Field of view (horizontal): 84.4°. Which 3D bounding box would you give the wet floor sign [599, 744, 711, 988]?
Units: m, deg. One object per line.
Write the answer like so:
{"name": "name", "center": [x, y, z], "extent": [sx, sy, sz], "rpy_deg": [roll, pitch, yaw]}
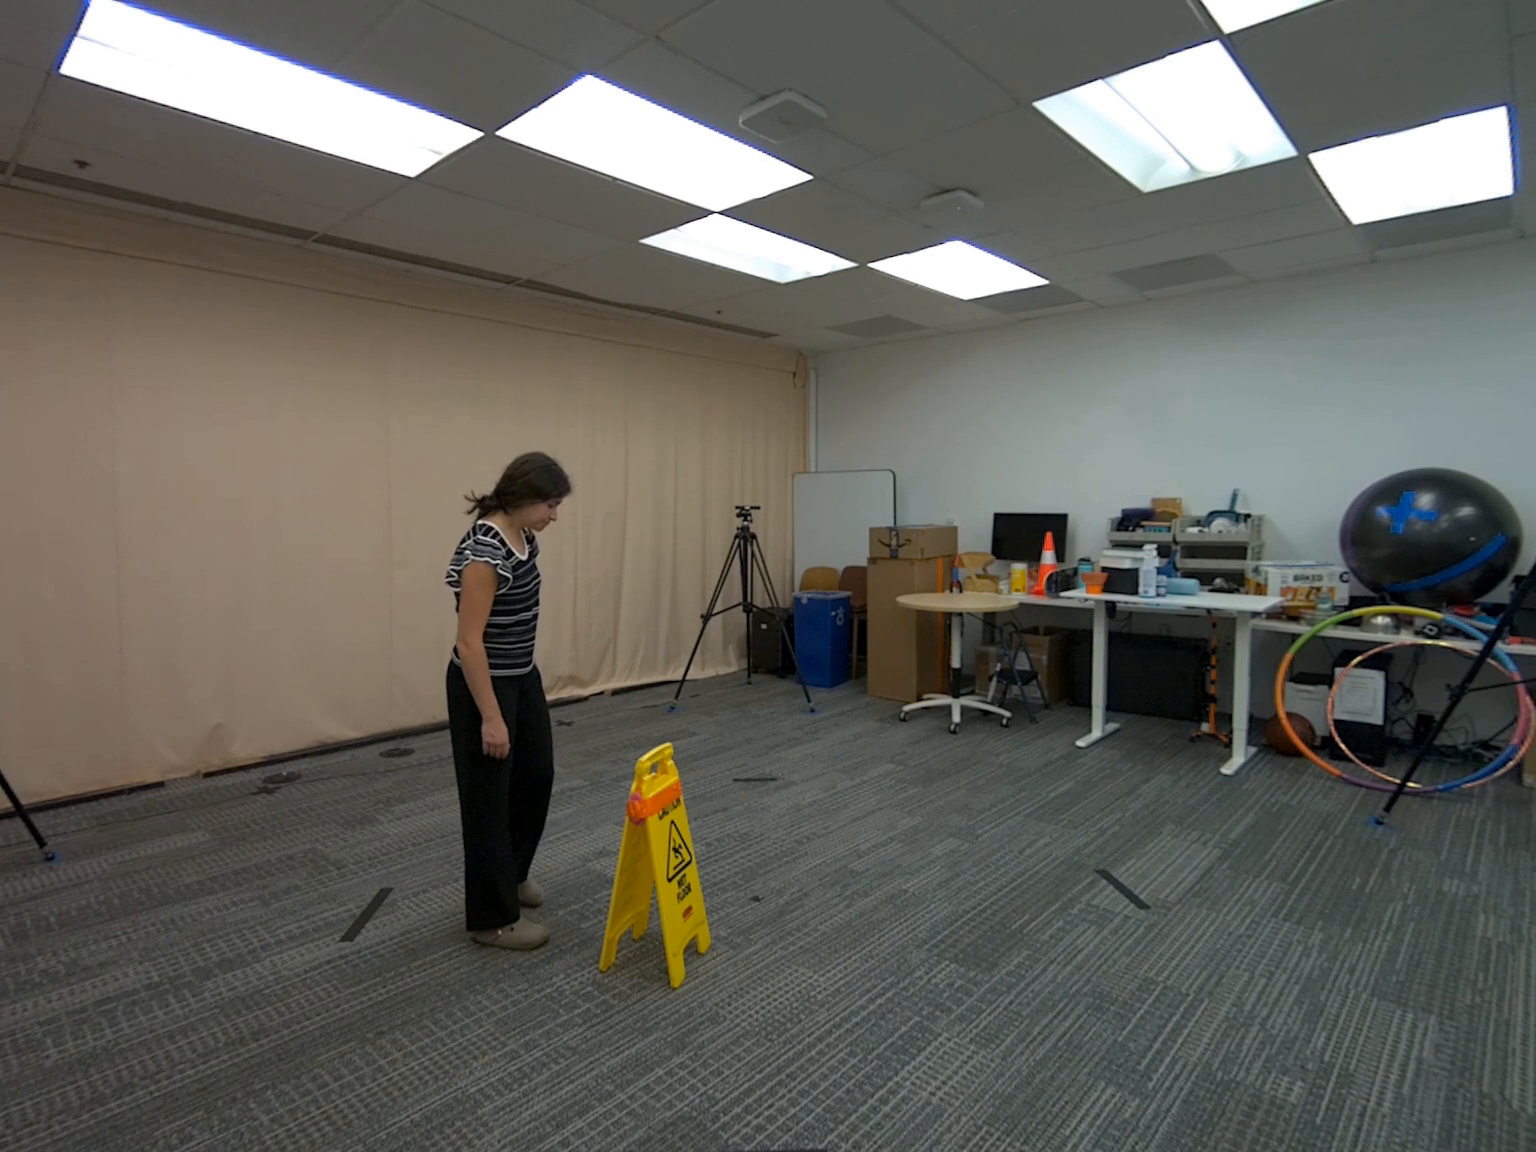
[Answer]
{"name": "wet floor sign", "center": [-0.350, 0.860, 2.575], "extent": [0.296, 0.645, 0.276], "rpy_deg": [0, 2, 20]}
